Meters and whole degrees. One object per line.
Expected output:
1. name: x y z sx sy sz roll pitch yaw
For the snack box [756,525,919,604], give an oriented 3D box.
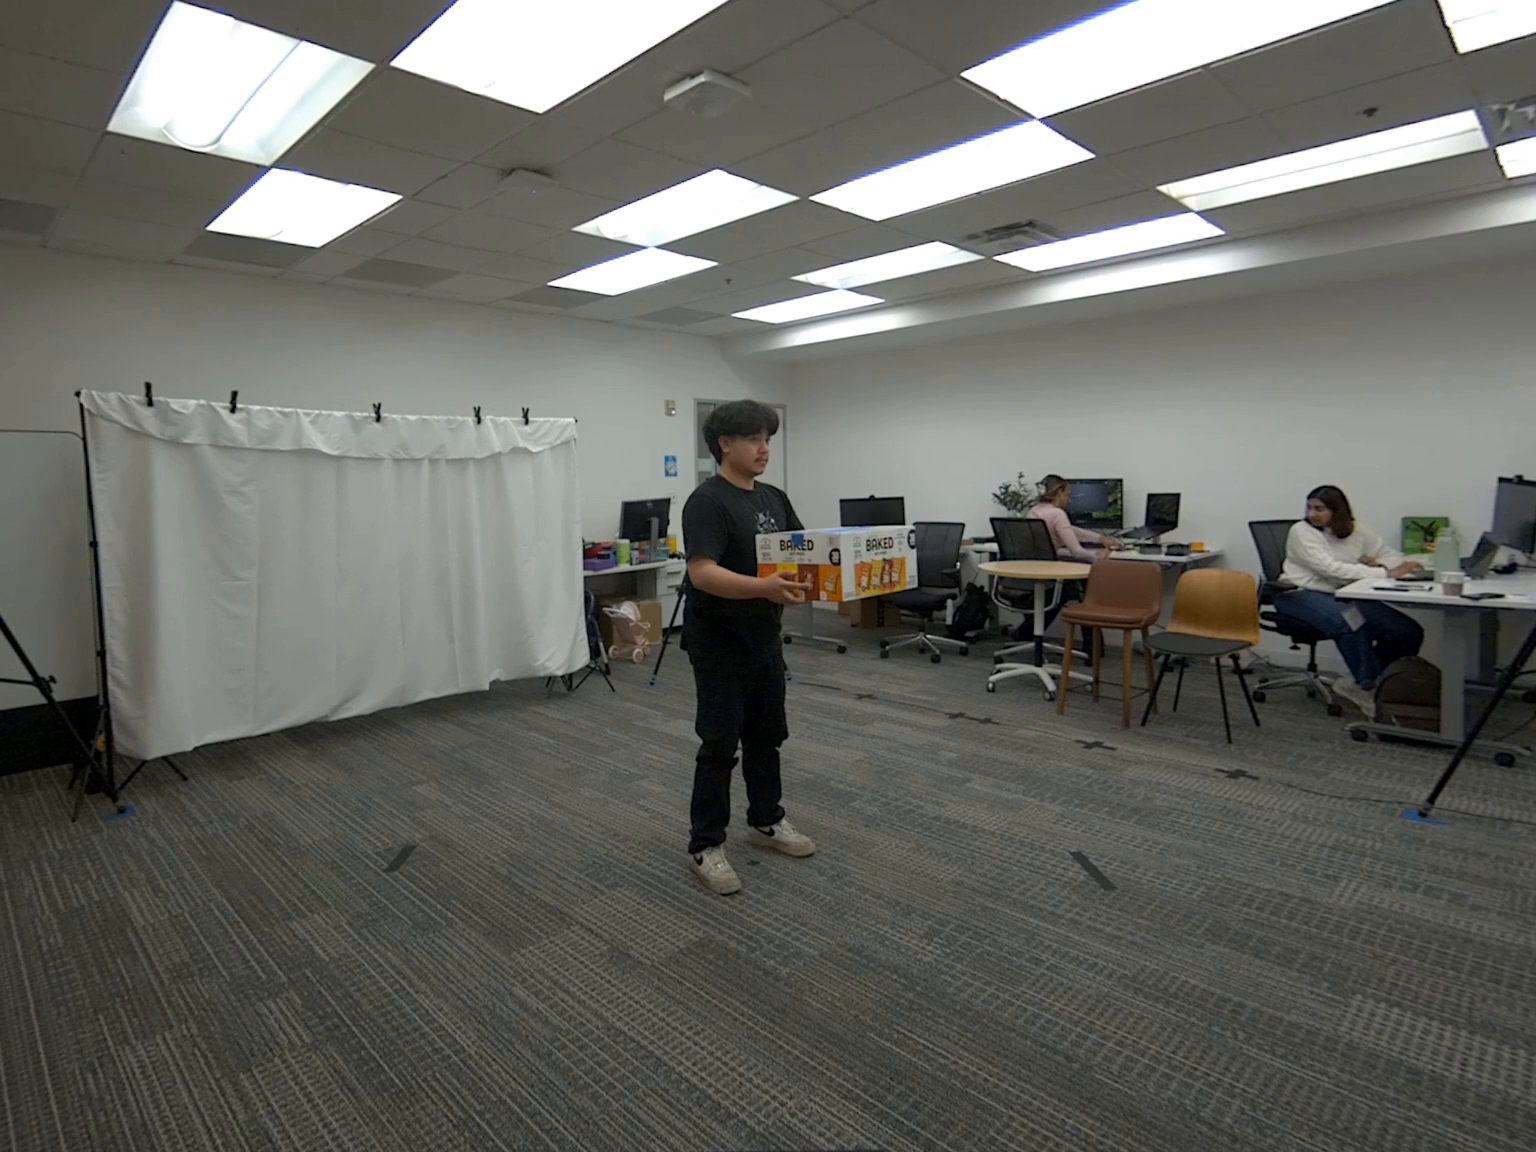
1. snack box: 0.218 -0.044 2.754 0.350 0.205 0.394 2 5 44
